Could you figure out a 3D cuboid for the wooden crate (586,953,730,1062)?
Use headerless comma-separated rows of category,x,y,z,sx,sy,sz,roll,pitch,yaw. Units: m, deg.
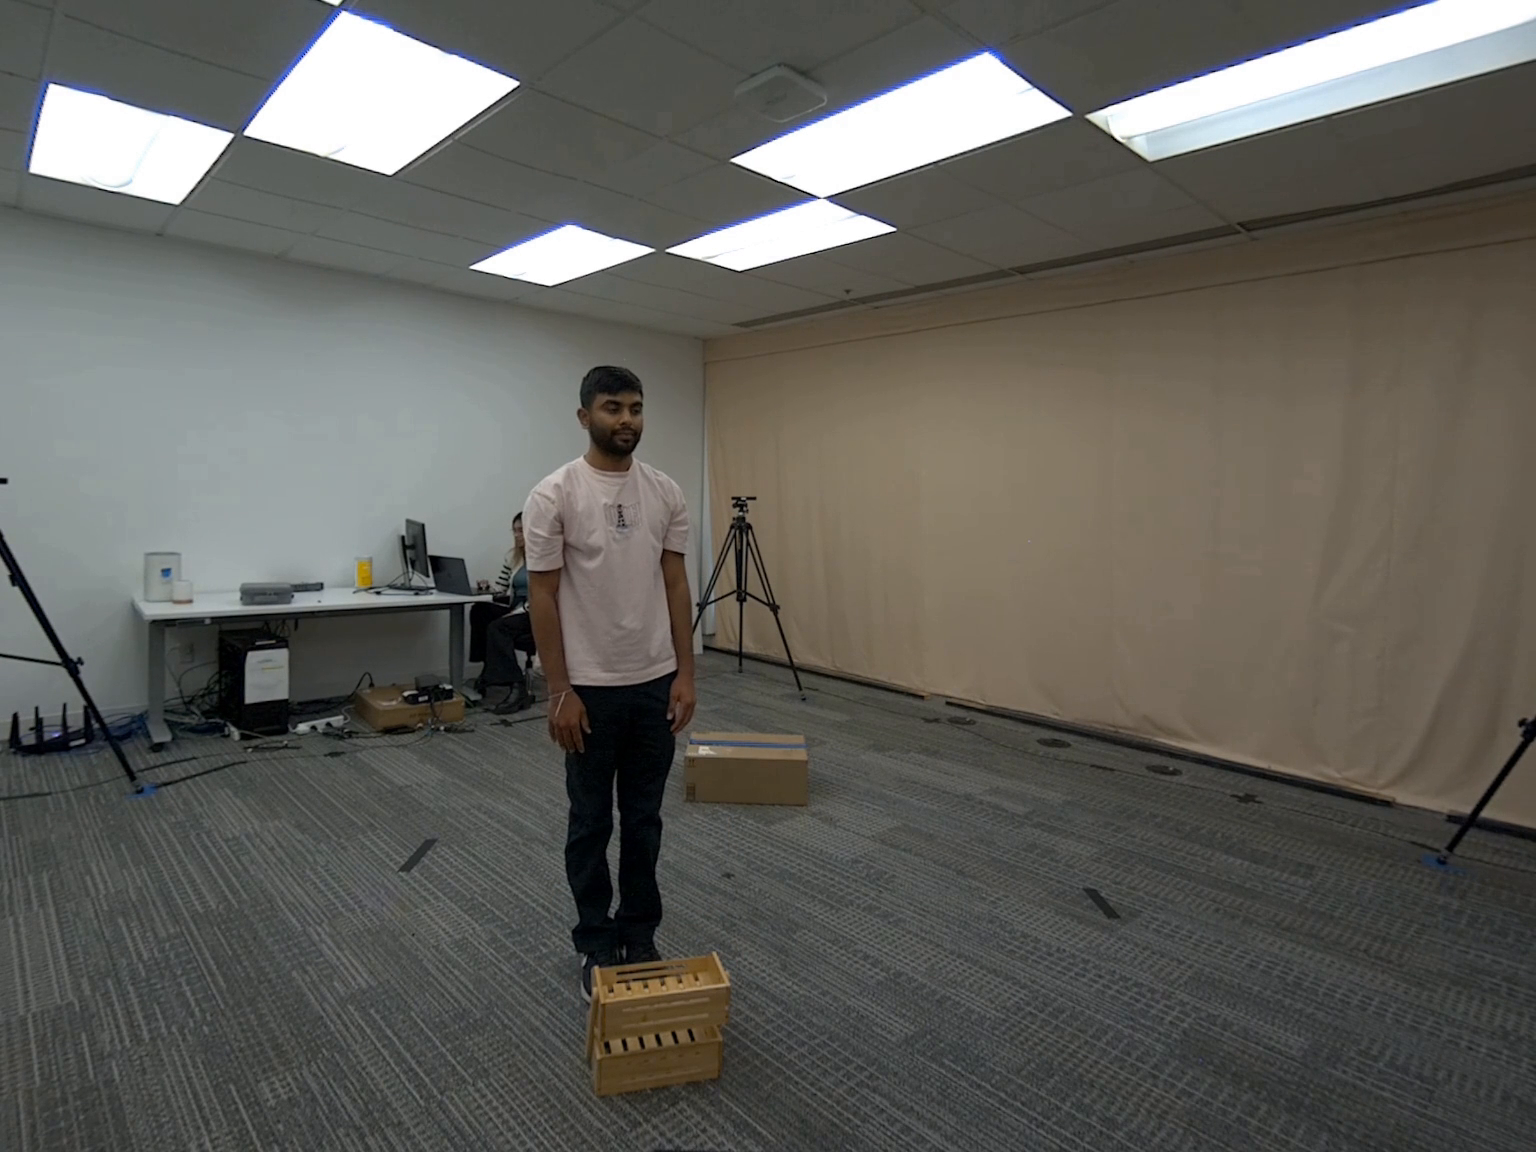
wooden crate,-0.286,1.058,2.078,0.320,0.272,0.307,0,5,-16
